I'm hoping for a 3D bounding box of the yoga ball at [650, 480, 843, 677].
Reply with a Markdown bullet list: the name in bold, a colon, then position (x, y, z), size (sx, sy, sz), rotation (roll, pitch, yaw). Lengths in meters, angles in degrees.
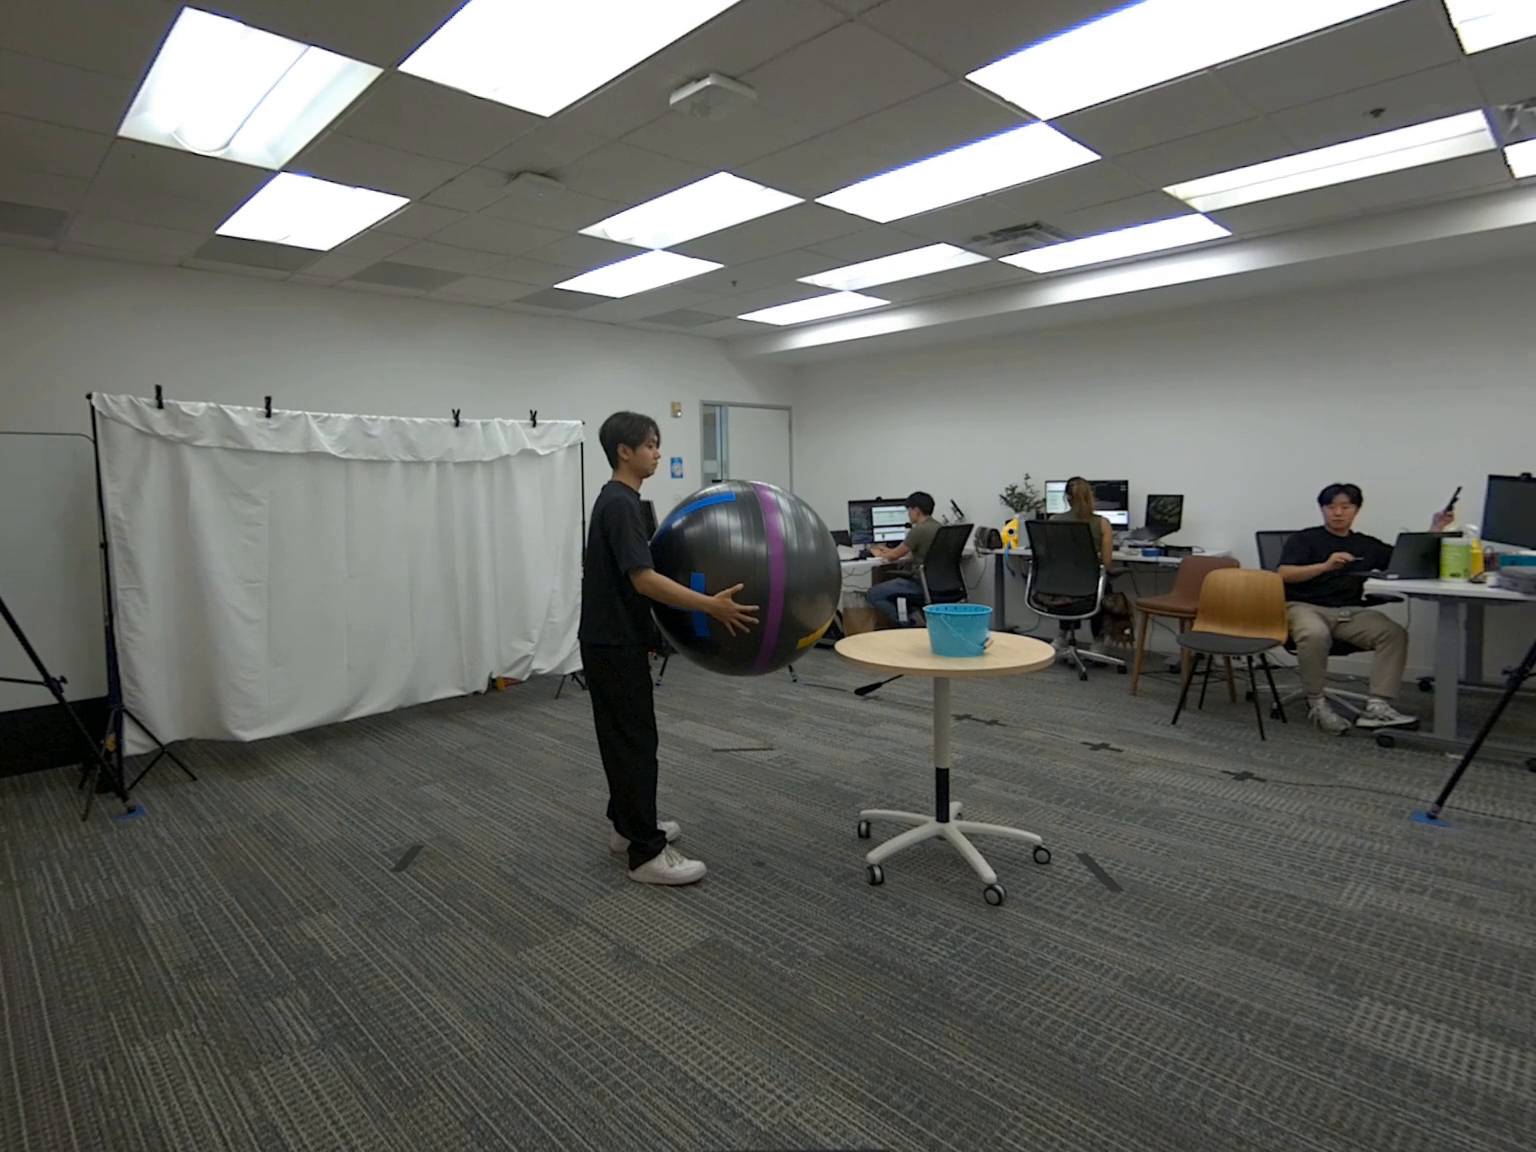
- **yoga ball**: position (-0.088, 0.010, 3.329), size (0.757, 0.755, 0.762), rotation (-1, 5, -2)
